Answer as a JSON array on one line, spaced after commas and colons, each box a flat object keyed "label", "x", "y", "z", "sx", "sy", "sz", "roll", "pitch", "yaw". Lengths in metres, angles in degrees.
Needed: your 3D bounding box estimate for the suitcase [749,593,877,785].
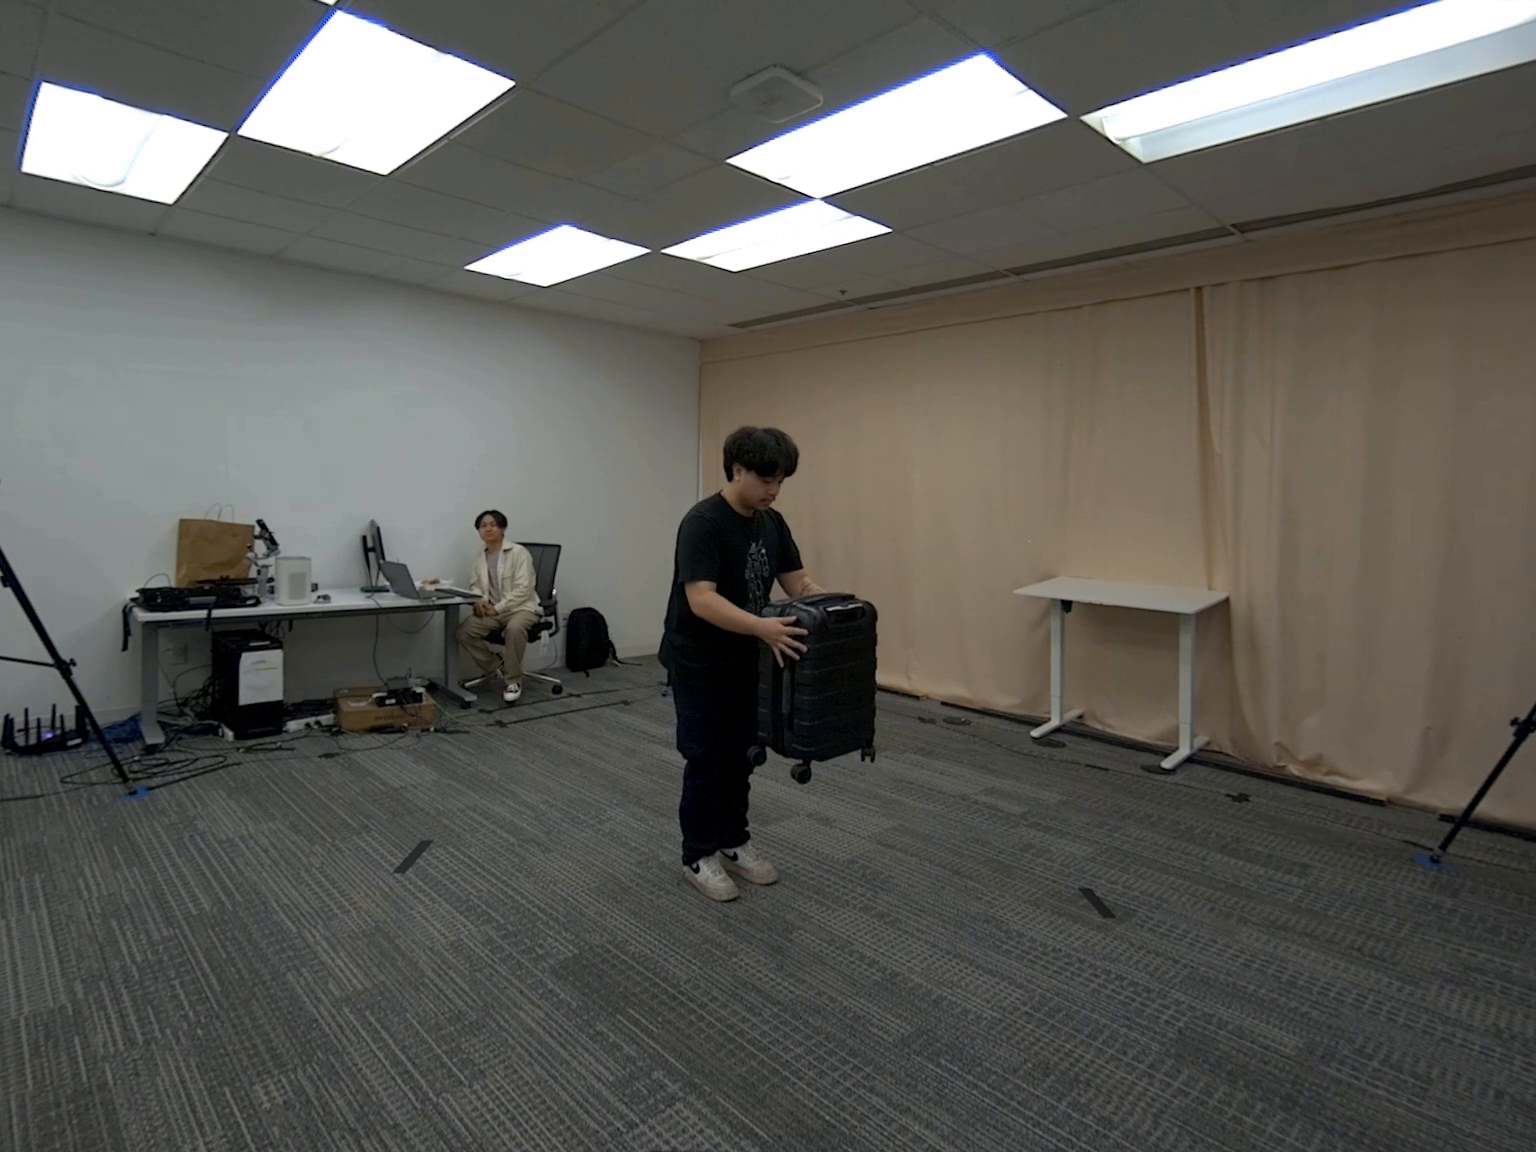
[{"label": "suitcase", "x": 0.157, "y": 0.344, "z": 2.725, "sx": 0.367, "sy": 0.547, "sz": 0.255, "roll": -6, "pitch": 8, "yaw": -41}]
